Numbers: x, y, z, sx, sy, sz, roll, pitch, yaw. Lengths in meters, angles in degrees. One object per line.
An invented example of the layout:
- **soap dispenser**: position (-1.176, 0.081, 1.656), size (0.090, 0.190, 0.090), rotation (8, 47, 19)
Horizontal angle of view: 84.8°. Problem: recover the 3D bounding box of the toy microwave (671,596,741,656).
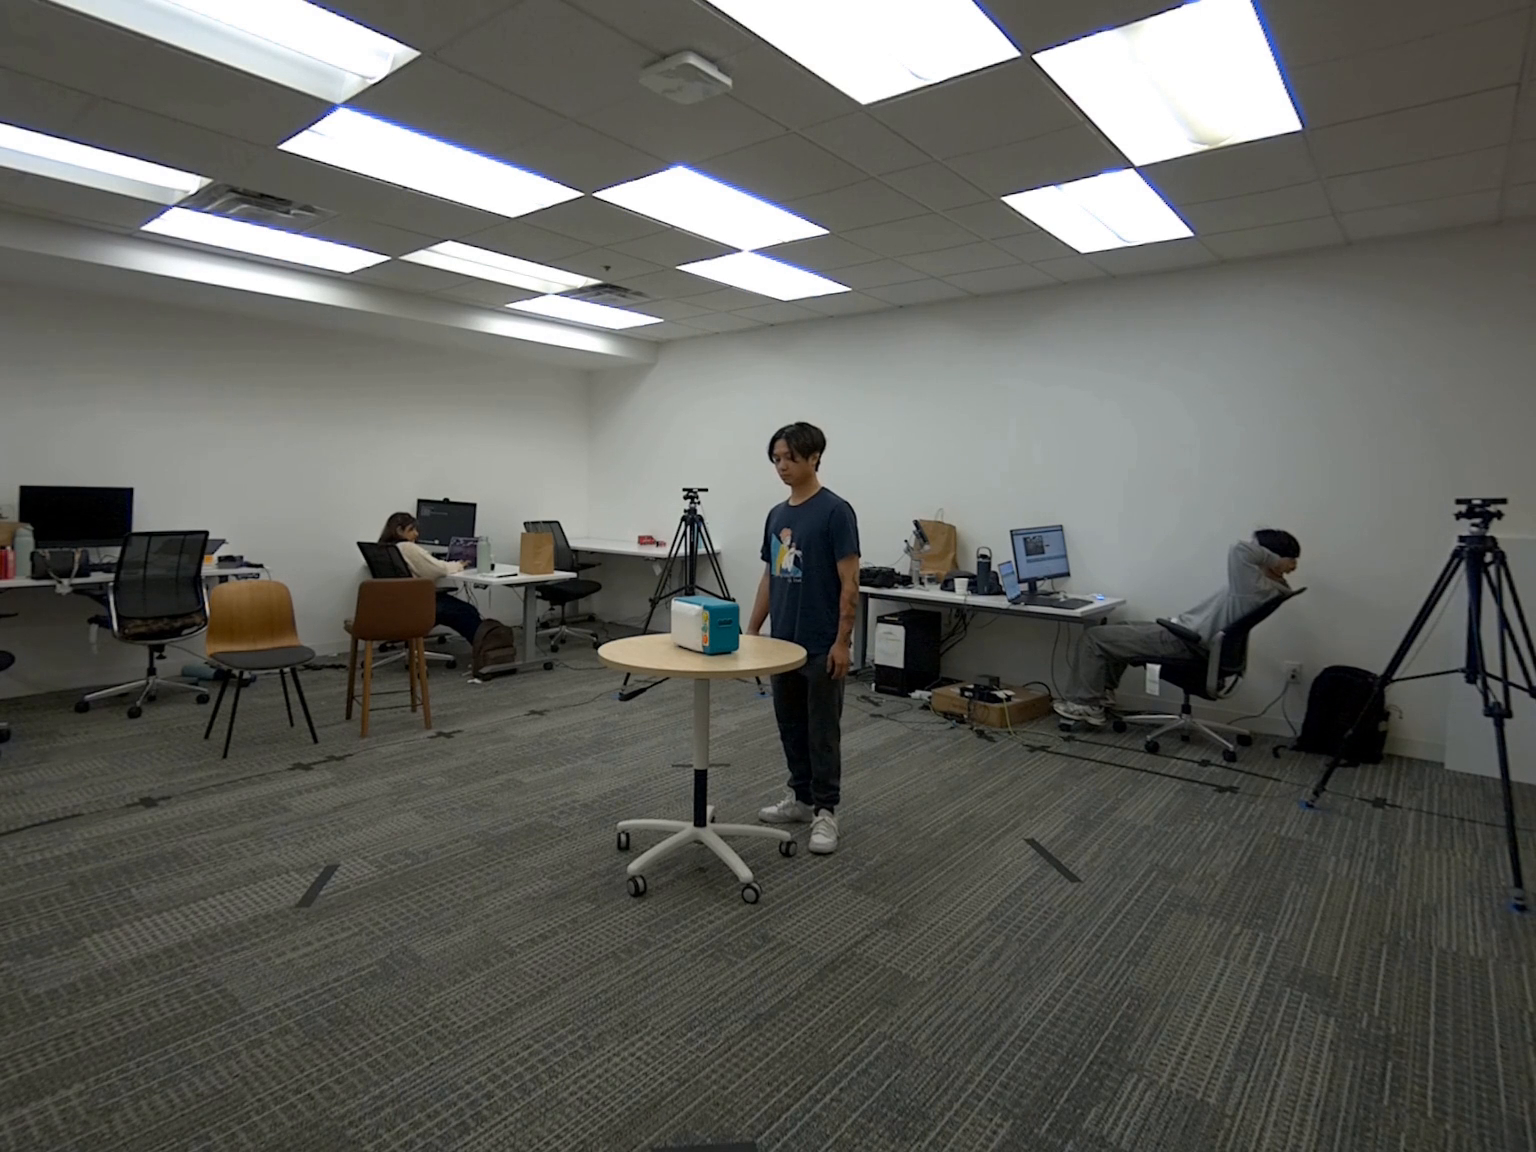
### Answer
- **toy microwave**: position (-0.252, 0.176, 3.130), size (0.148, 0.183, 0.295), rotation (-3, 6, -34)
